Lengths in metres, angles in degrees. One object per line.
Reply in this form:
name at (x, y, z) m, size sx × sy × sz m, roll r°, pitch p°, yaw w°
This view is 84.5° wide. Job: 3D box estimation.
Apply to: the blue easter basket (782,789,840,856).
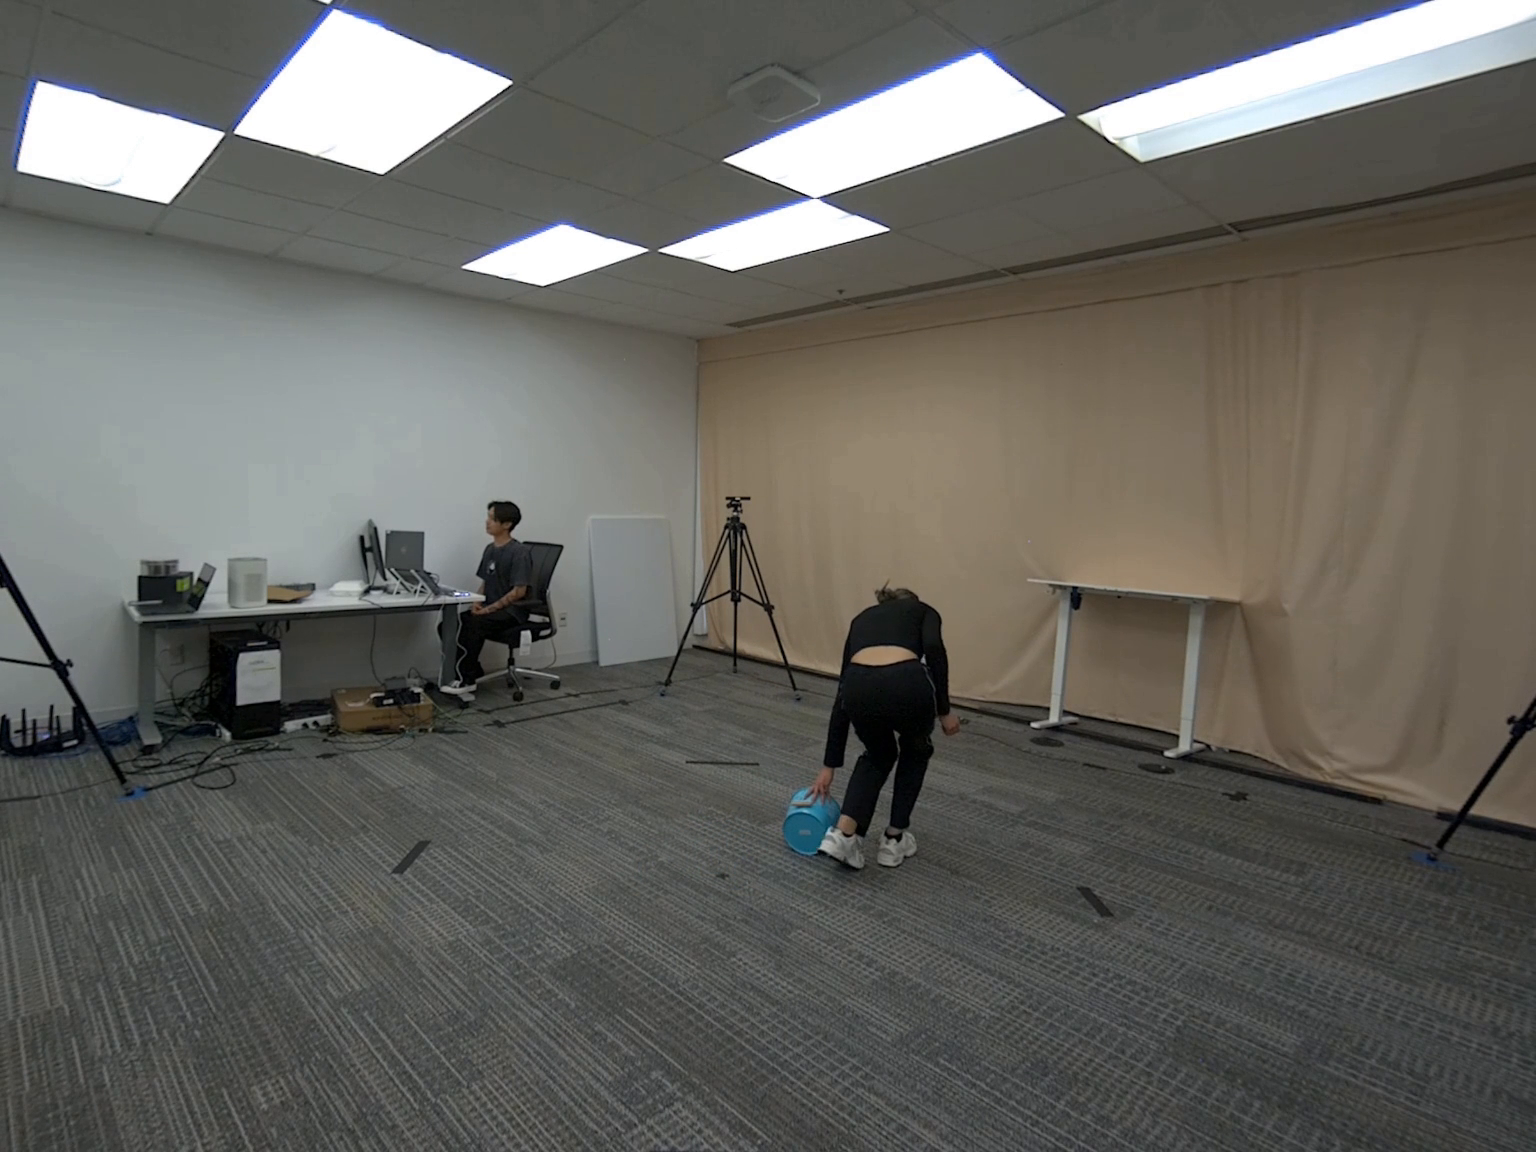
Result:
blue easter basket at (0.159, 0.980, 3.369) m, size 0.248 × 0.241 × 0.154 m, roll 3°, pitch 12°, yaw 22°
